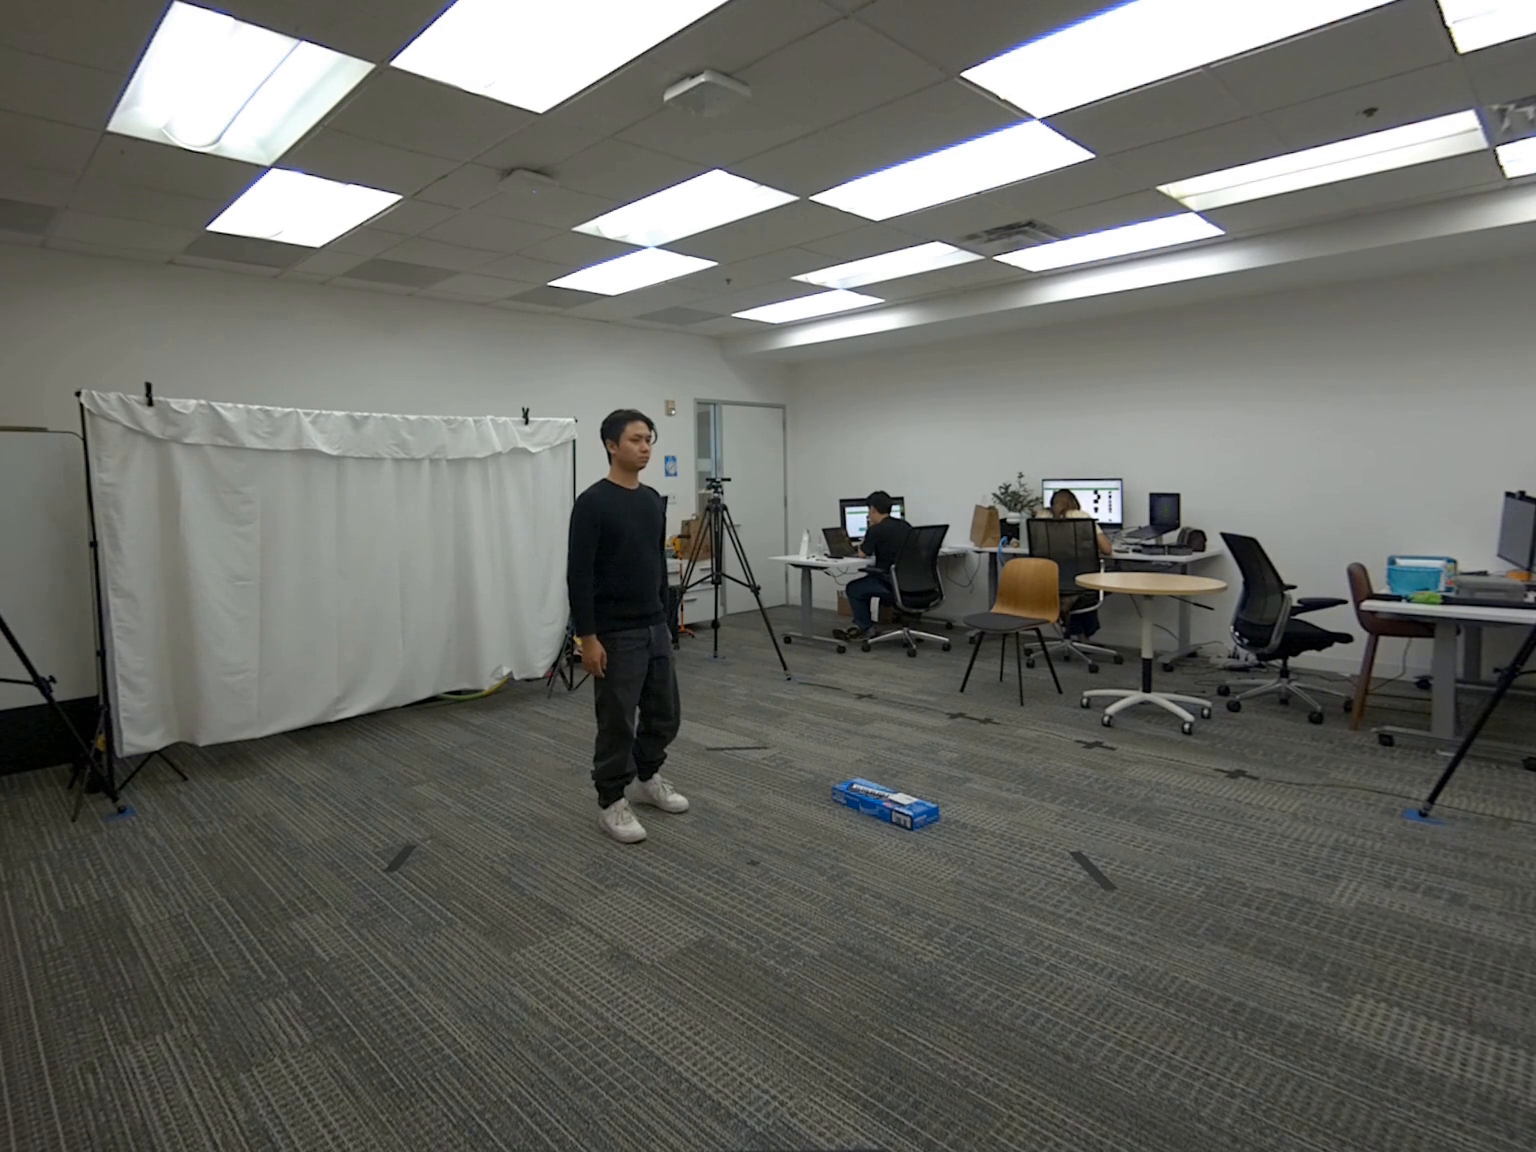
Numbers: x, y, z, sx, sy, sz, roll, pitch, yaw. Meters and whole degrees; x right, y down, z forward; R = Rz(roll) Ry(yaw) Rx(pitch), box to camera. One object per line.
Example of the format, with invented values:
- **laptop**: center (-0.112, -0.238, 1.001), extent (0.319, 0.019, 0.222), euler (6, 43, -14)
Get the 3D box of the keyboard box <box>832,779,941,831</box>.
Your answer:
- **keyboard box**: center (0.483, 0.944, 3.580), extent (0.171, 0.059, 0.450), euler (-6, 8, -40)
